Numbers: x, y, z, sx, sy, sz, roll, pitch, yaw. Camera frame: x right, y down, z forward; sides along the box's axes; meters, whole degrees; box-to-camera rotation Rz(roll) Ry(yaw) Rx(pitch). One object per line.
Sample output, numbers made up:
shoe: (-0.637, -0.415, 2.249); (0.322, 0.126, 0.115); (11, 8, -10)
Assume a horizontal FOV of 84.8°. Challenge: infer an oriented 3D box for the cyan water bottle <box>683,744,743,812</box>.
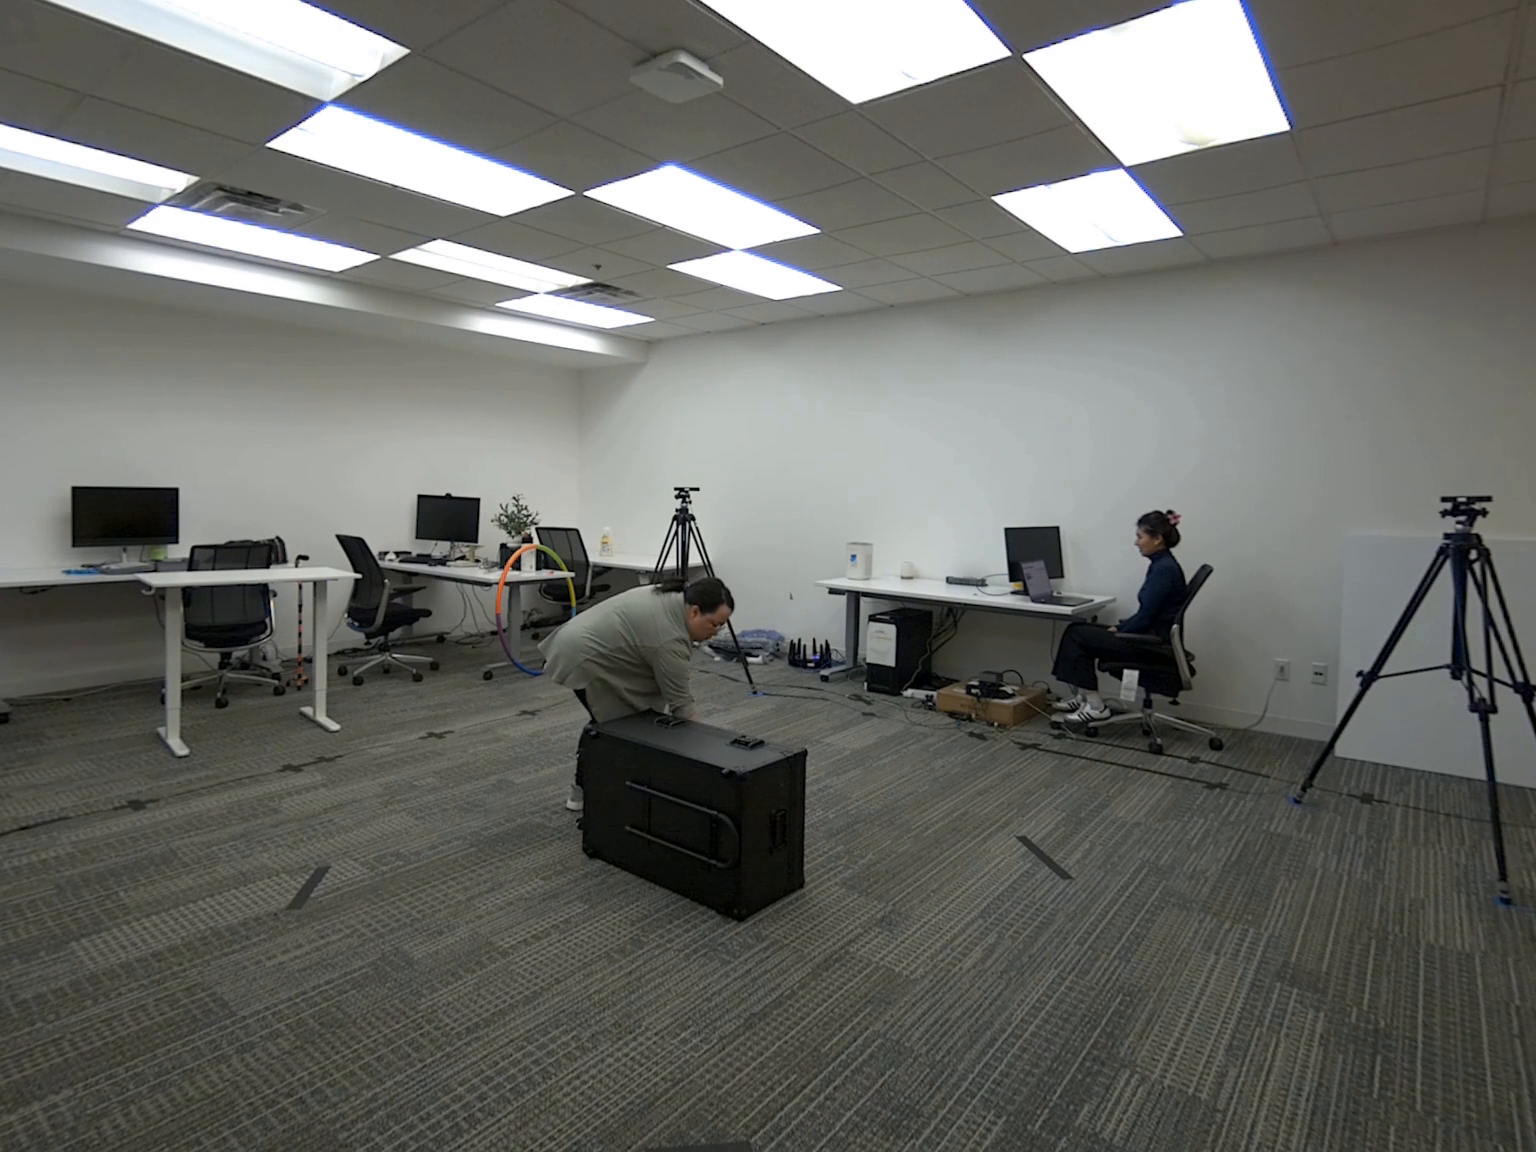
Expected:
cyan water bottle: (-0.227, 0.823, 3.422); (0.090, 0.283, 0.095); (32, 26, -20)
